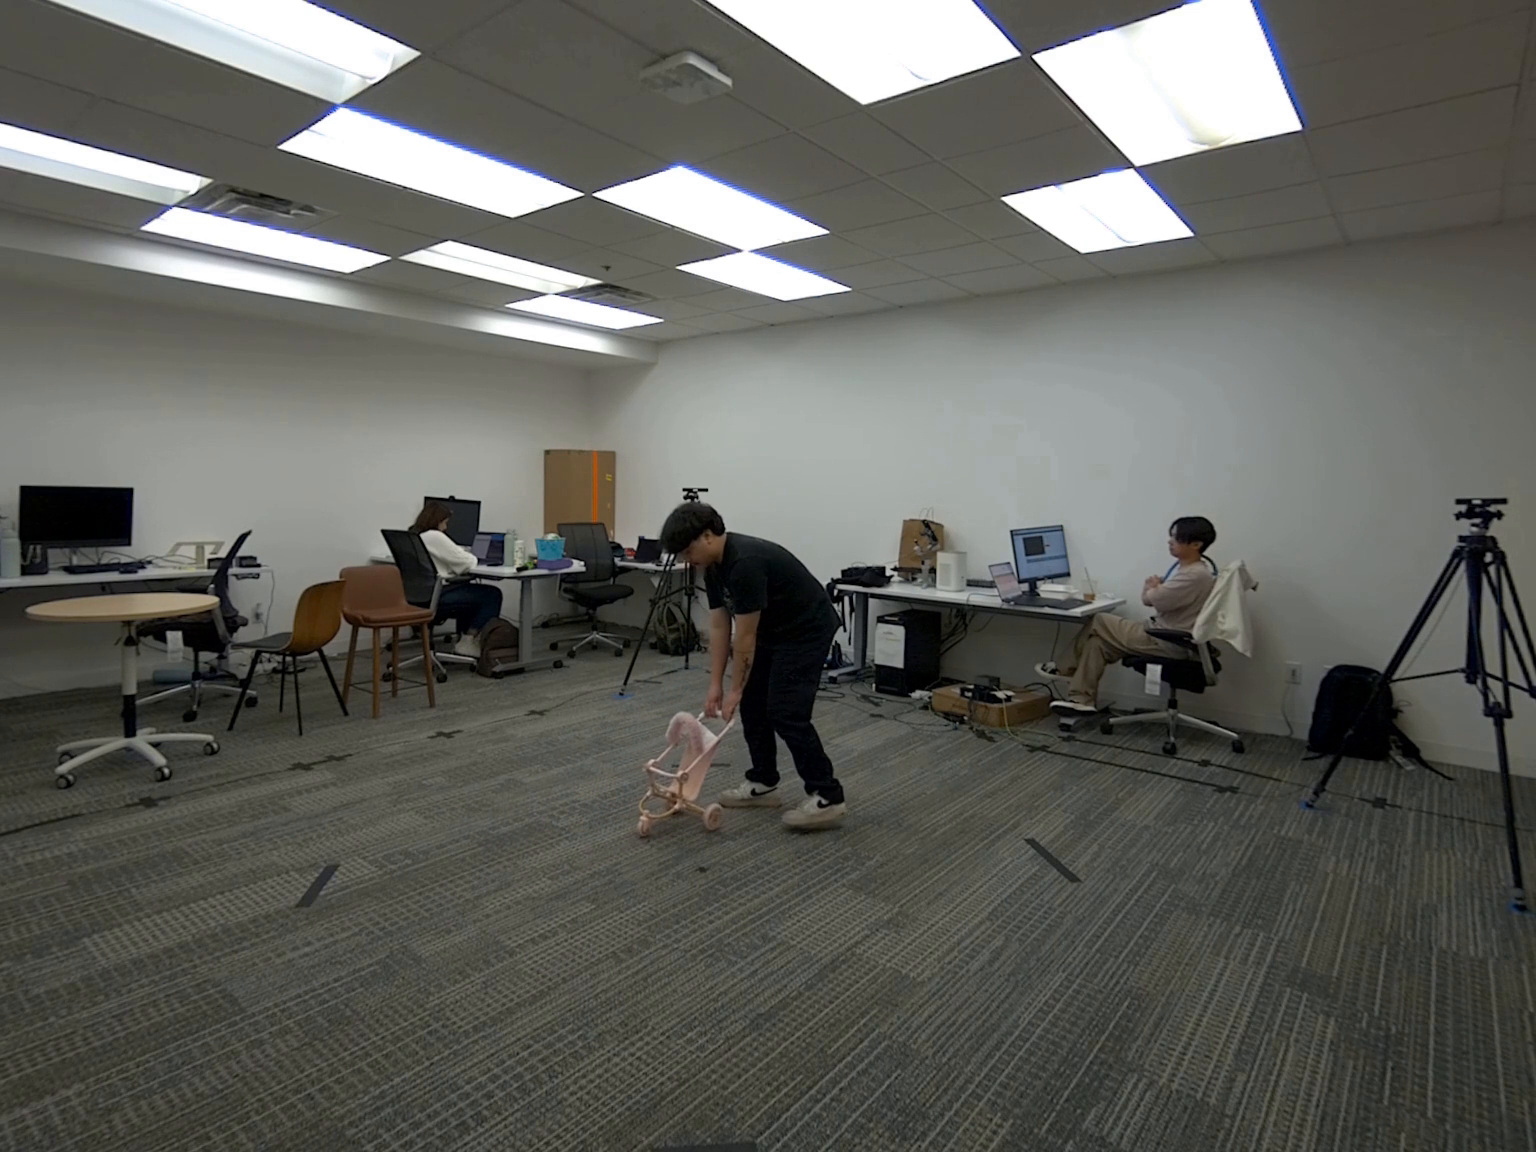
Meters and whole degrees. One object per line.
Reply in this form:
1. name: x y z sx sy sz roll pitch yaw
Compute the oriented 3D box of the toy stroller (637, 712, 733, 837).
1. toy stroller: -0.367 0.801 3.508 0.328 0.537 0.291 18 -8 -39
